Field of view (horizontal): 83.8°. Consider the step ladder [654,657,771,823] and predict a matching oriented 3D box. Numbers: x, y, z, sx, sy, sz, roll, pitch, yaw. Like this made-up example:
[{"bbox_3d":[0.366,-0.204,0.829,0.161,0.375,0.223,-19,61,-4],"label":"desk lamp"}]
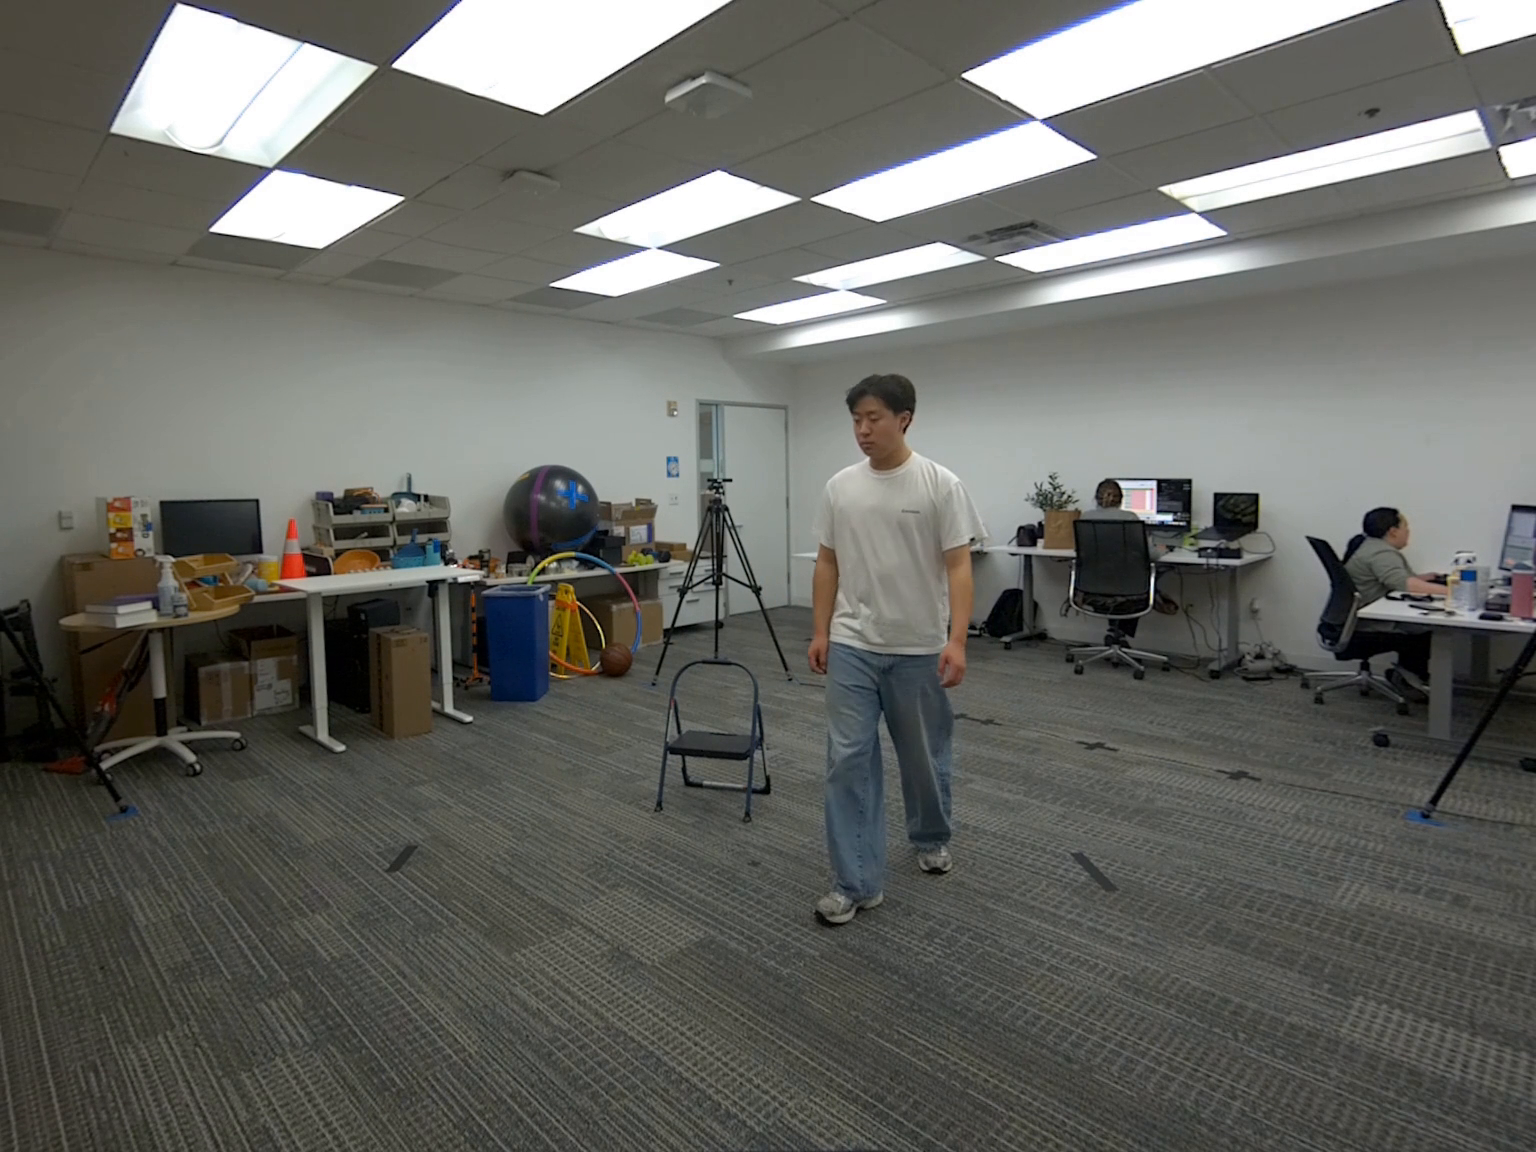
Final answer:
[{"bbox_3d":[-0.236,0.679,3.695,0.438,0.604,0.344,0,4,18],"label":"step ladder"}]
